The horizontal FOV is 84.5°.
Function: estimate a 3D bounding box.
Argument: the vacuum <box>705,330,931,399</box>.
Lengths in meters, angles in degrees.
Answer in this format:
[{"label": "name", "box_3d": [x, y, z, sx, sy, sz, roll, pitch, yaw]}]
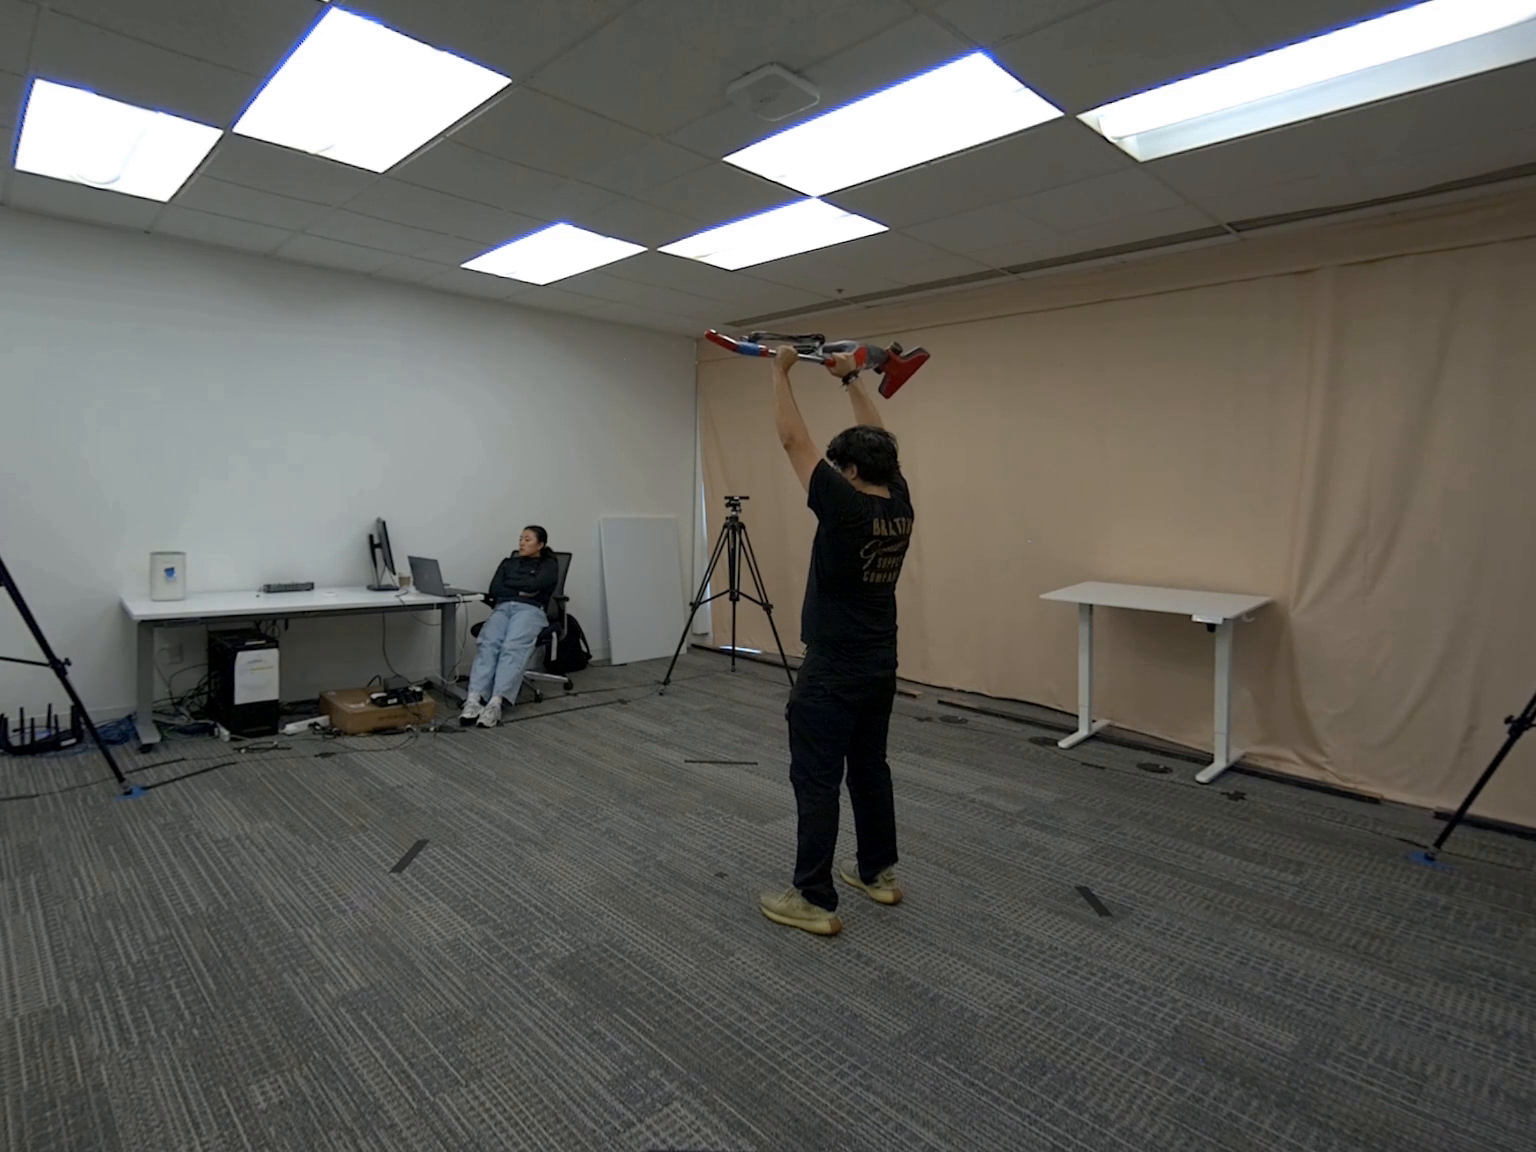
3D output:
[{"label": "vacuum", "box_3d": [0.162, -0.800, 2.973, 1.026, 0.146, 0.254, -5, -25, -47]}]
